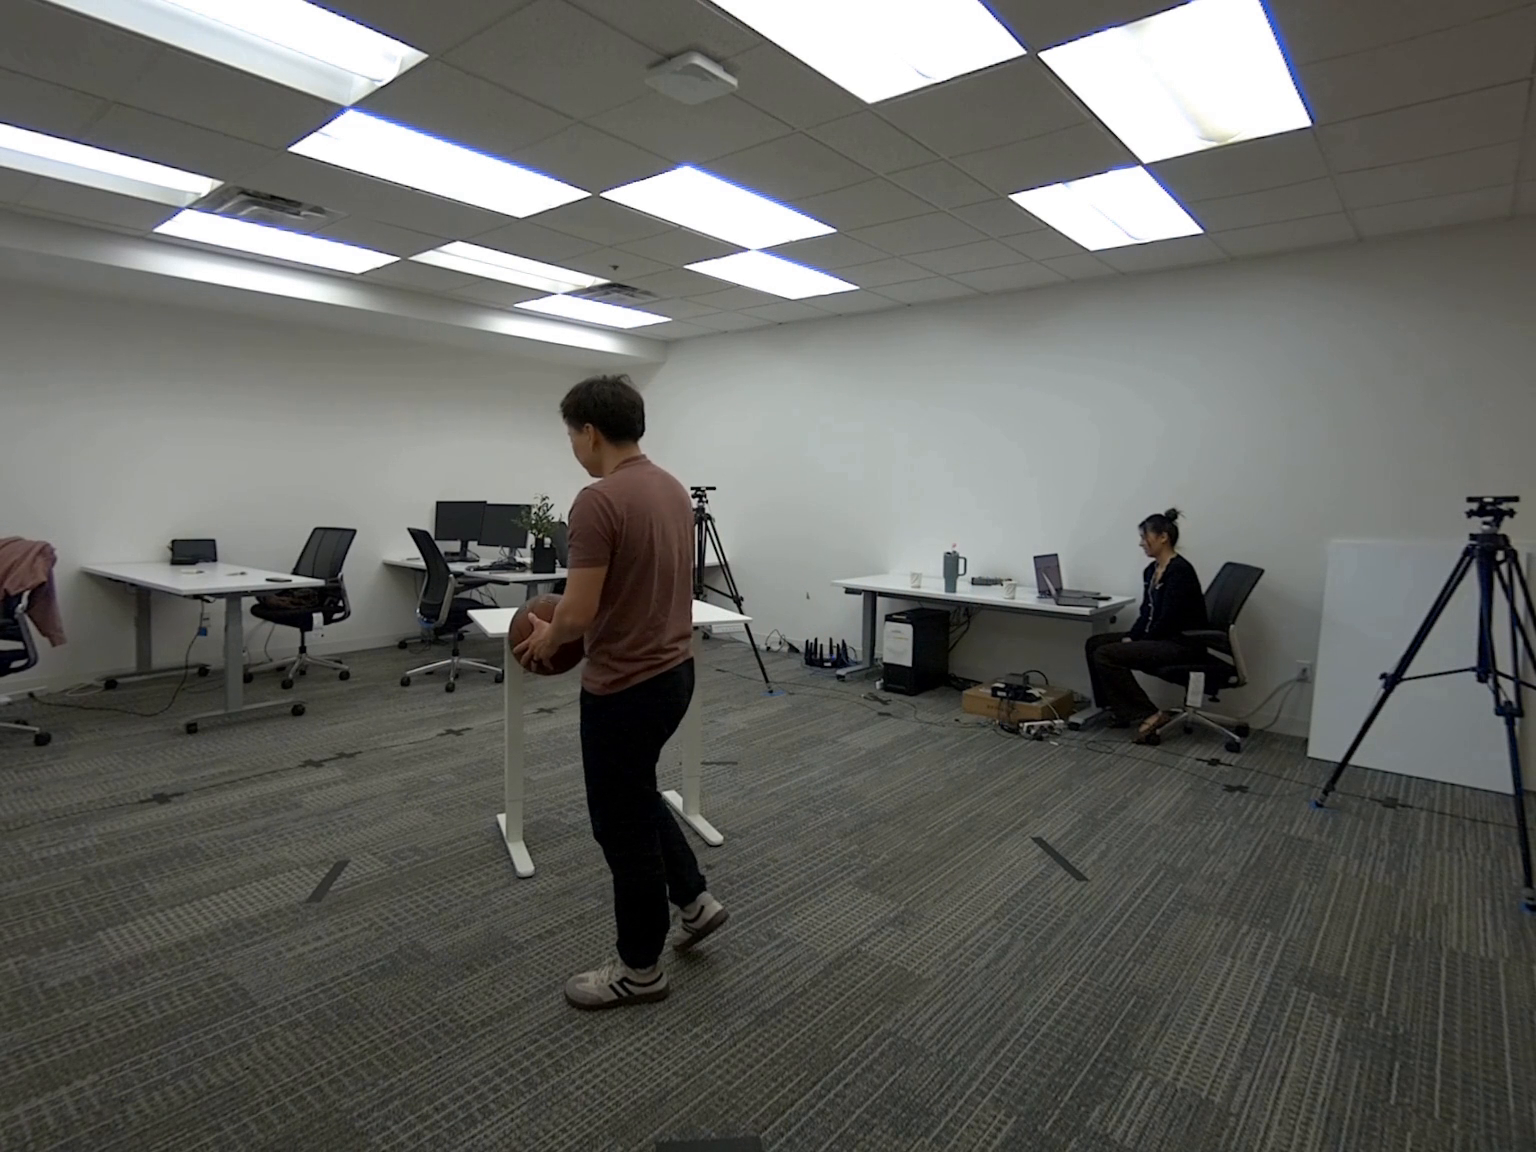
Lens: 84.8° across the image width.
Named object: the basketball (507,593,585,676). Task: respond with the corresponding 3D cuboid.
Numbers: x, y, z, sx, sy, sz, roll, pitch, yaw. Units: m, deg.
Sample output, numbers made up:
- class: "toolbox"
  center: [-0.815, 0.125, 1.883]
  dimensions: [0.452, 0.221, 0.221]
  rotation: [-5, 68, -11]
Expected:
- class: "basketball"
  center: [-0.635, 0.168, 2.469]
  dimensions: [0.235, 0.235, 0.237]
  rotation: [1, 4, -2]
